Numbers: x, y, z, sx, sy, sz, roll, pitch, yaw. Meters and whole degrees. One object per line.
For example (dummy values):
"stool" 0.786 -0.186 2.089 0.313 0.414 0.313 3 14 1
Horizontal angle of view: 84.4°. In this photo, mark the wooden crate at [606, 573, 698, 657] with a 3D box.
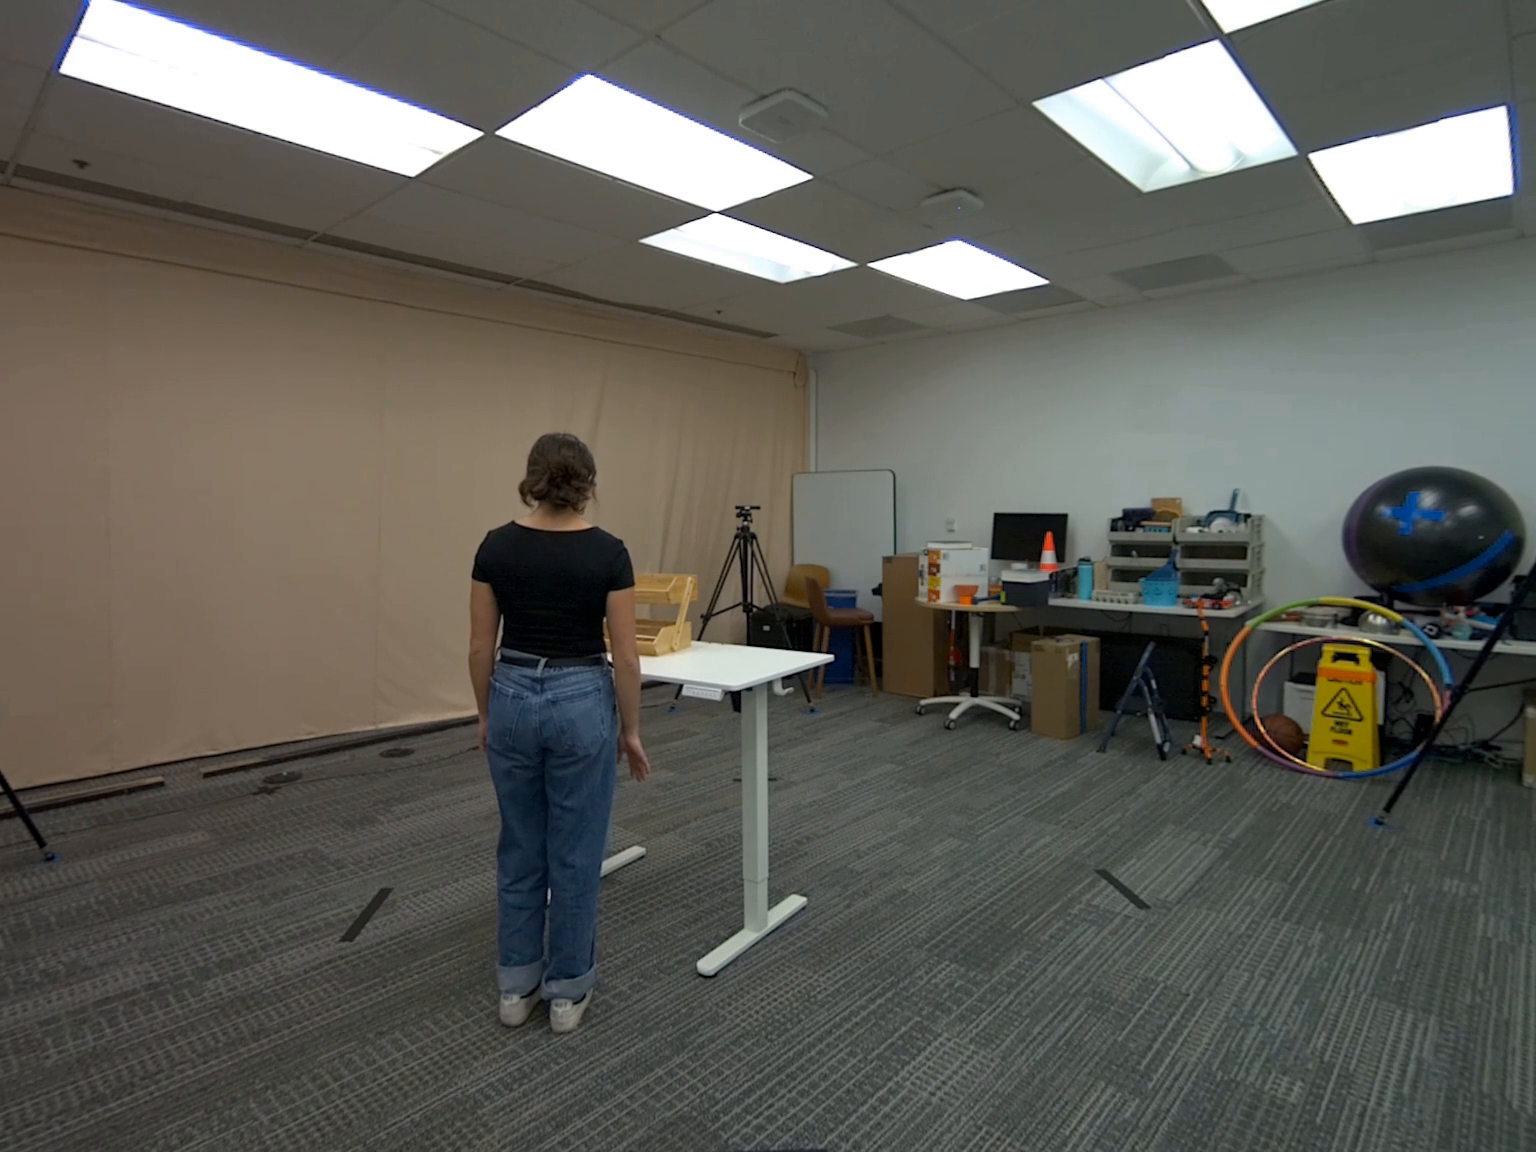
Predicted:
"wooden crate" -0.457 0.128 3.044 0.333 0.273 0.295 1 2 25
